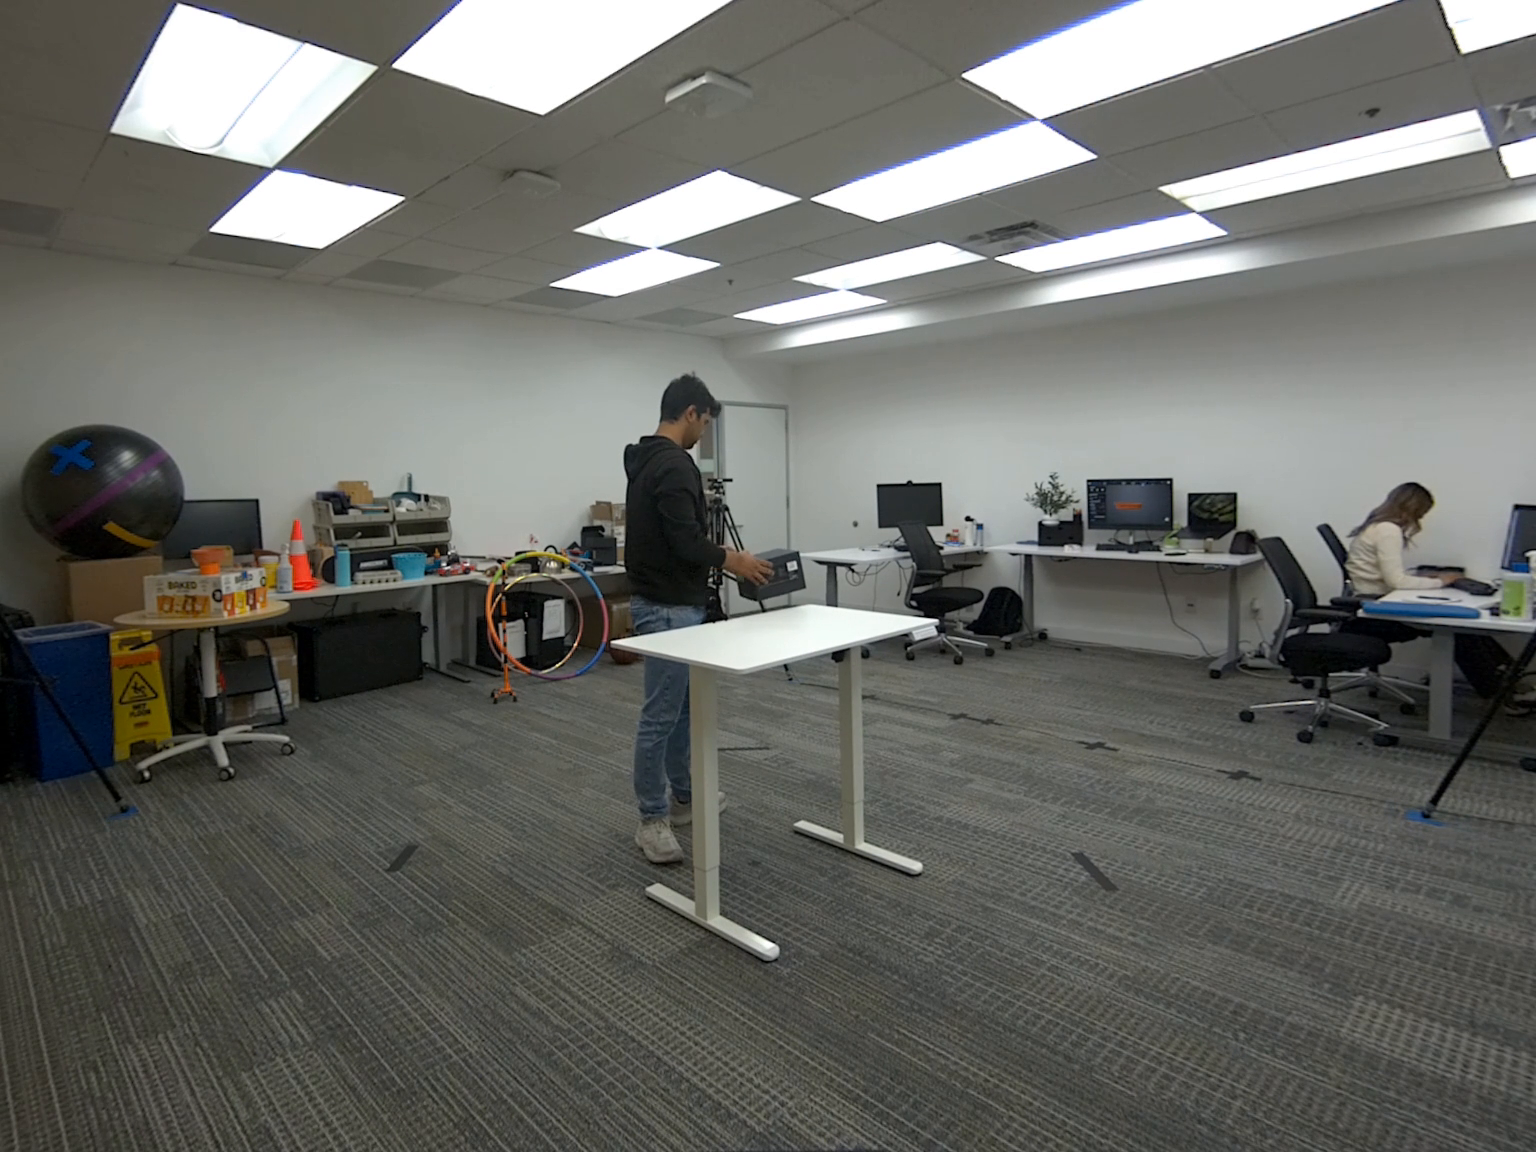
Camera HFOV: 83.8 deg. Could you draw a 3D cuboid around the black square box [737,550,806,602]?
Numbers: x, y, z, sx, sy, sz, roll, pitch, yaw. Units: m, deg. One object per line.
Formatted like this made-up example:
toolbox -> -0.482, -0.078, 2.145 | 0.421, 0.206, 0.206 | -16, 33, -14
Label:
black square box -> 0.002, 0.002, 3.476 | 0.214, 0.155, 0.232 | -14, 8, -16
